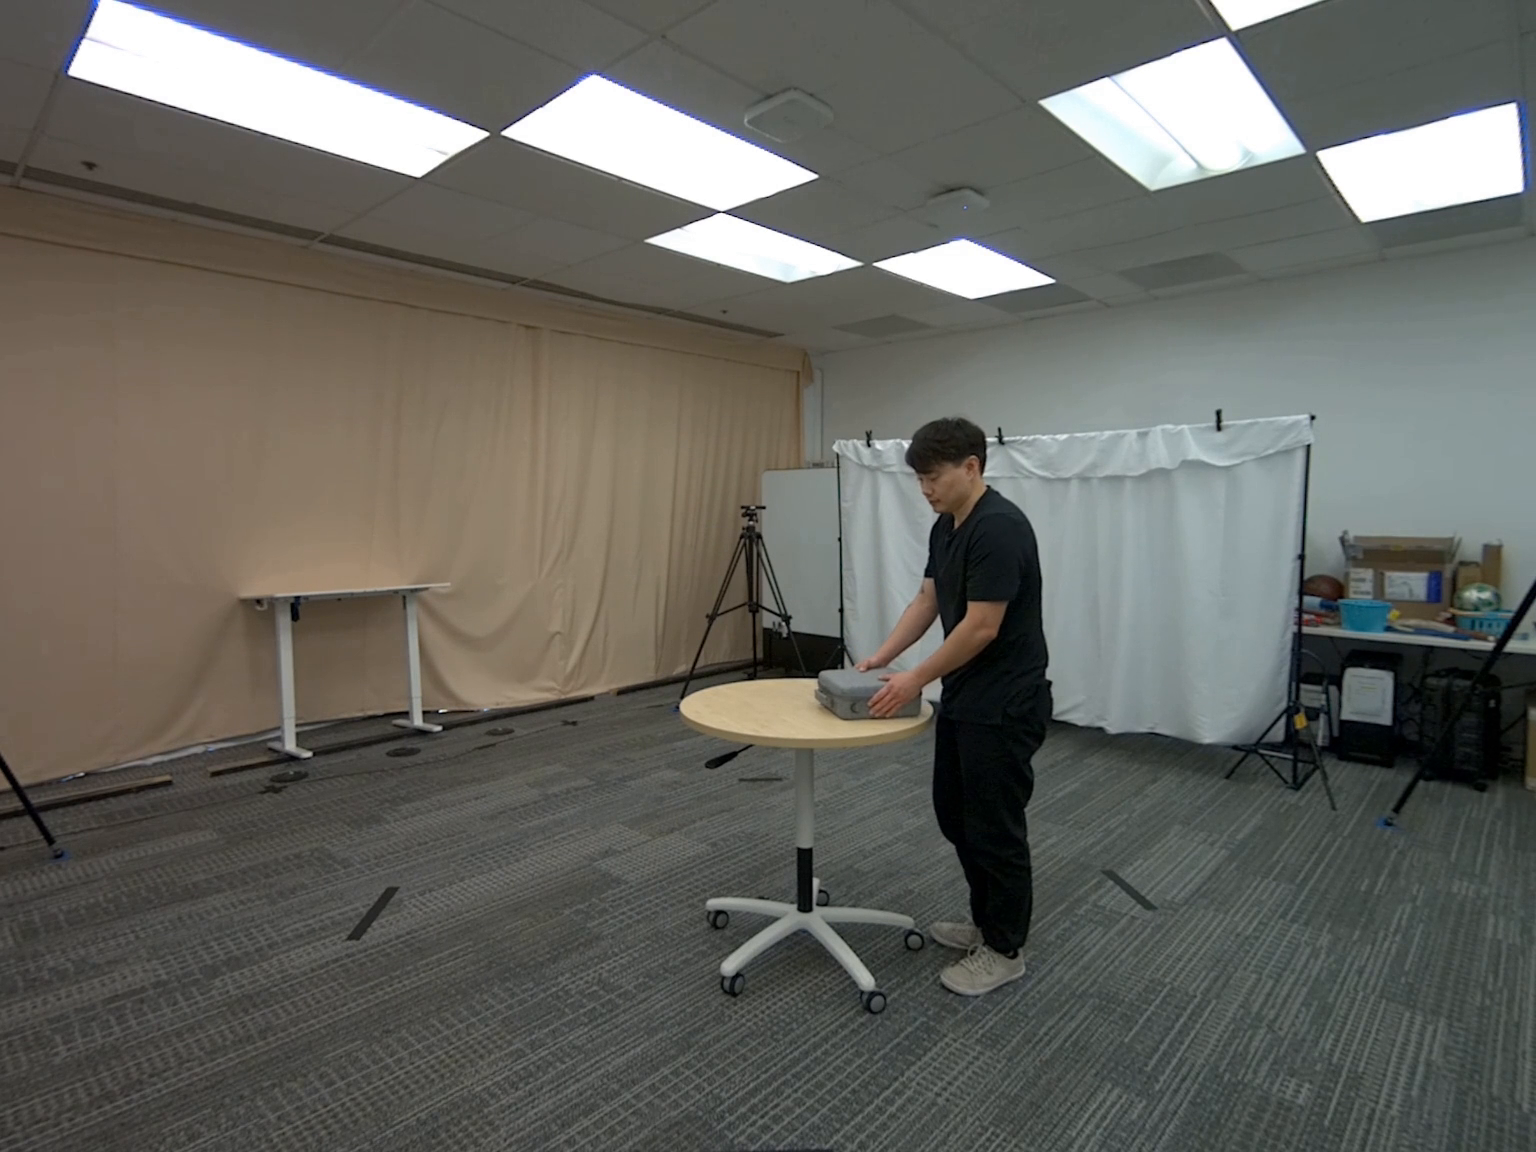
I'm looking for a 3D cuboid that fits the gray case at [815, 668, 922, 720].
[{"bbox_3d":[0.292,0.348,2.514,0.258,0.104,0.260,-1,6,-10],"label":"gray case"}]
